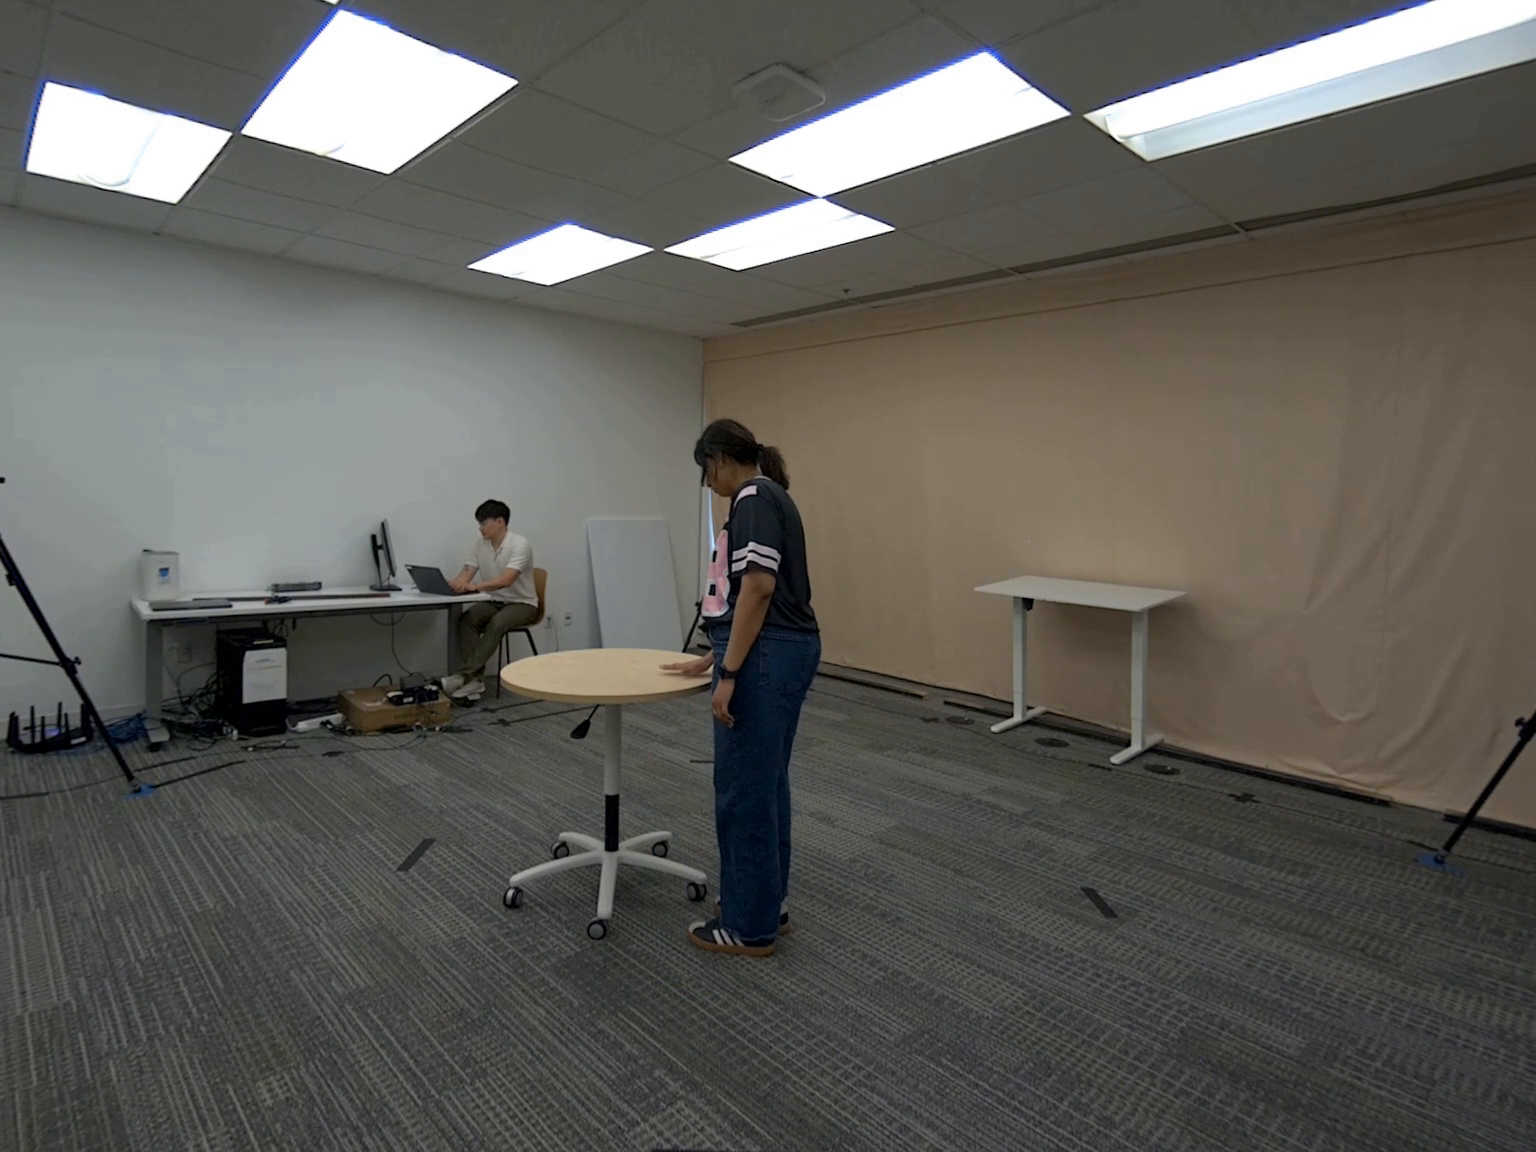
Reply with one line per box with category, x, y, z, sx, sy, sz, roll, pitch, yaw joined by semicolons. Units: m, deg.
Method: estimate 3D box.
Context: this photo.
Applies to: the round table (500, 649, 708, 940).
round table;-0.561;0.717;2.950;0.784;0.784;0.788;1;4;-1
